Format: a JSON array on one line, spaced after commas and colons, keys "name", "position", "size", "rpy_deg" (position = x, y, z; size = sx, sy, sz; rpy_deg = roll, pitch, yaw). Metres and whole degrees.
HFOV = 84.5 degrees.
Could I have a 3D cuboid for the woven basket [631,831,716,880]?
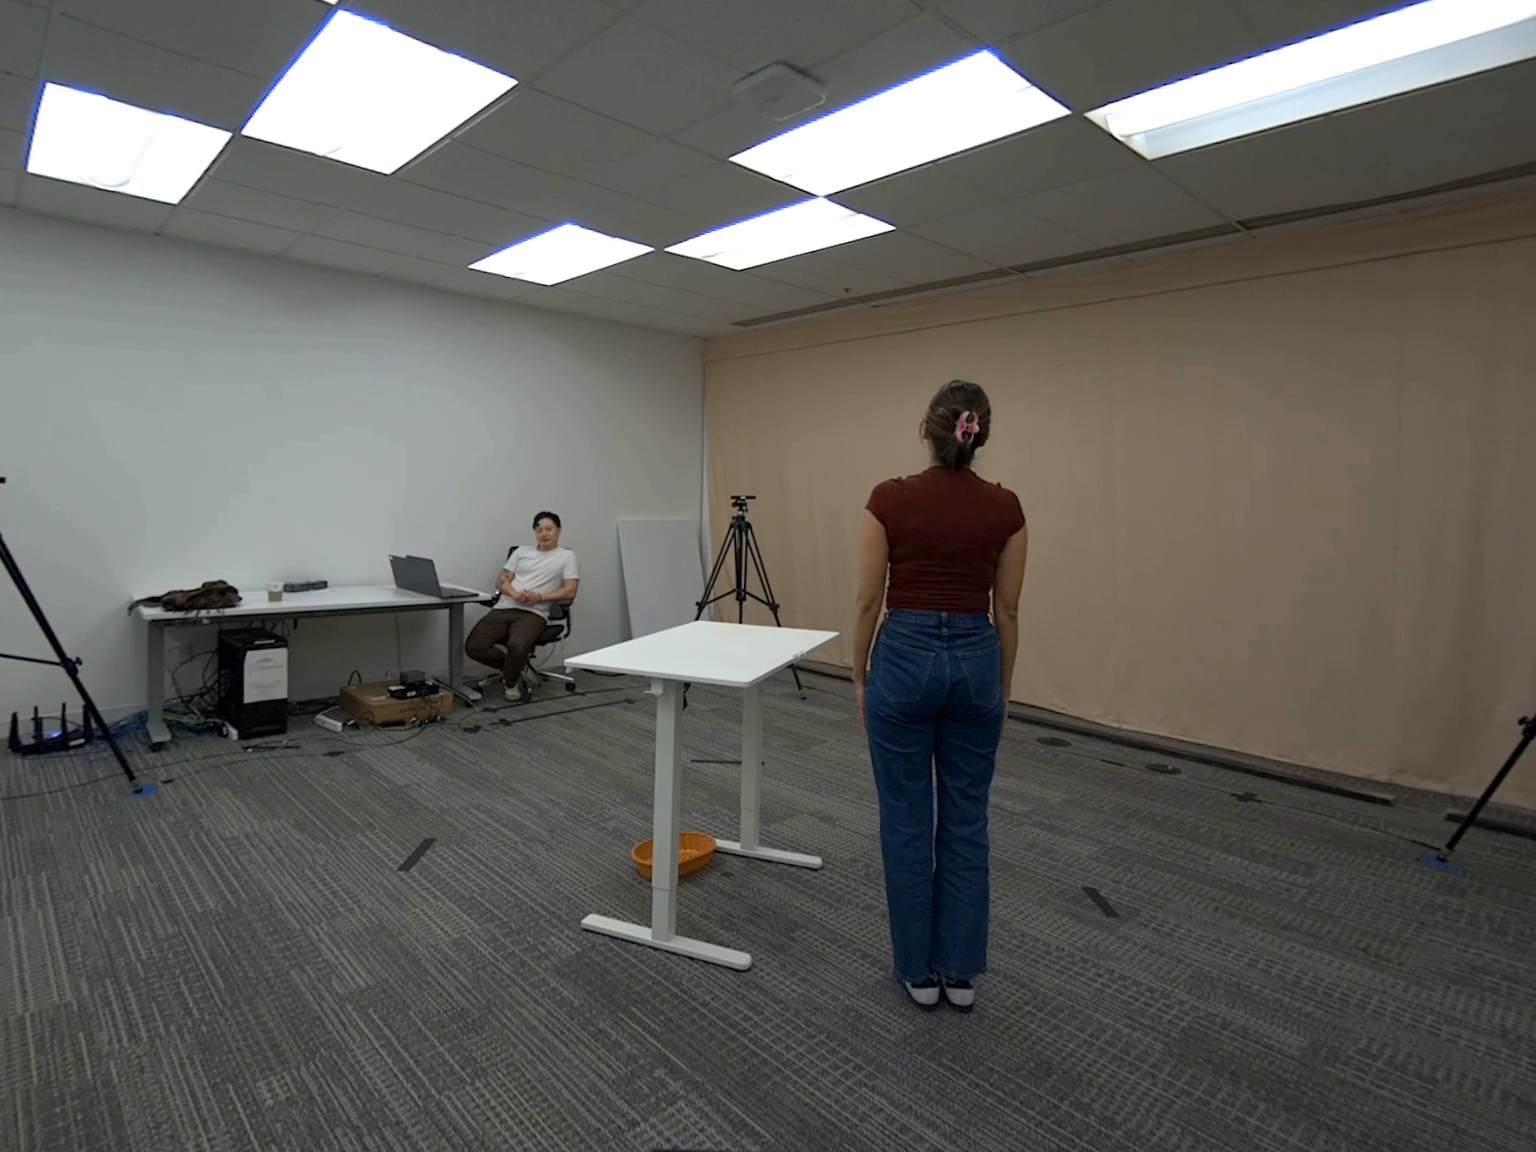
[{"name": "woven basket", "position": [-0.356, 1.051, 3.156], "size": [0.342, 0.073, 0.259], "rpy_deg": [-4, 6, -45]}]
